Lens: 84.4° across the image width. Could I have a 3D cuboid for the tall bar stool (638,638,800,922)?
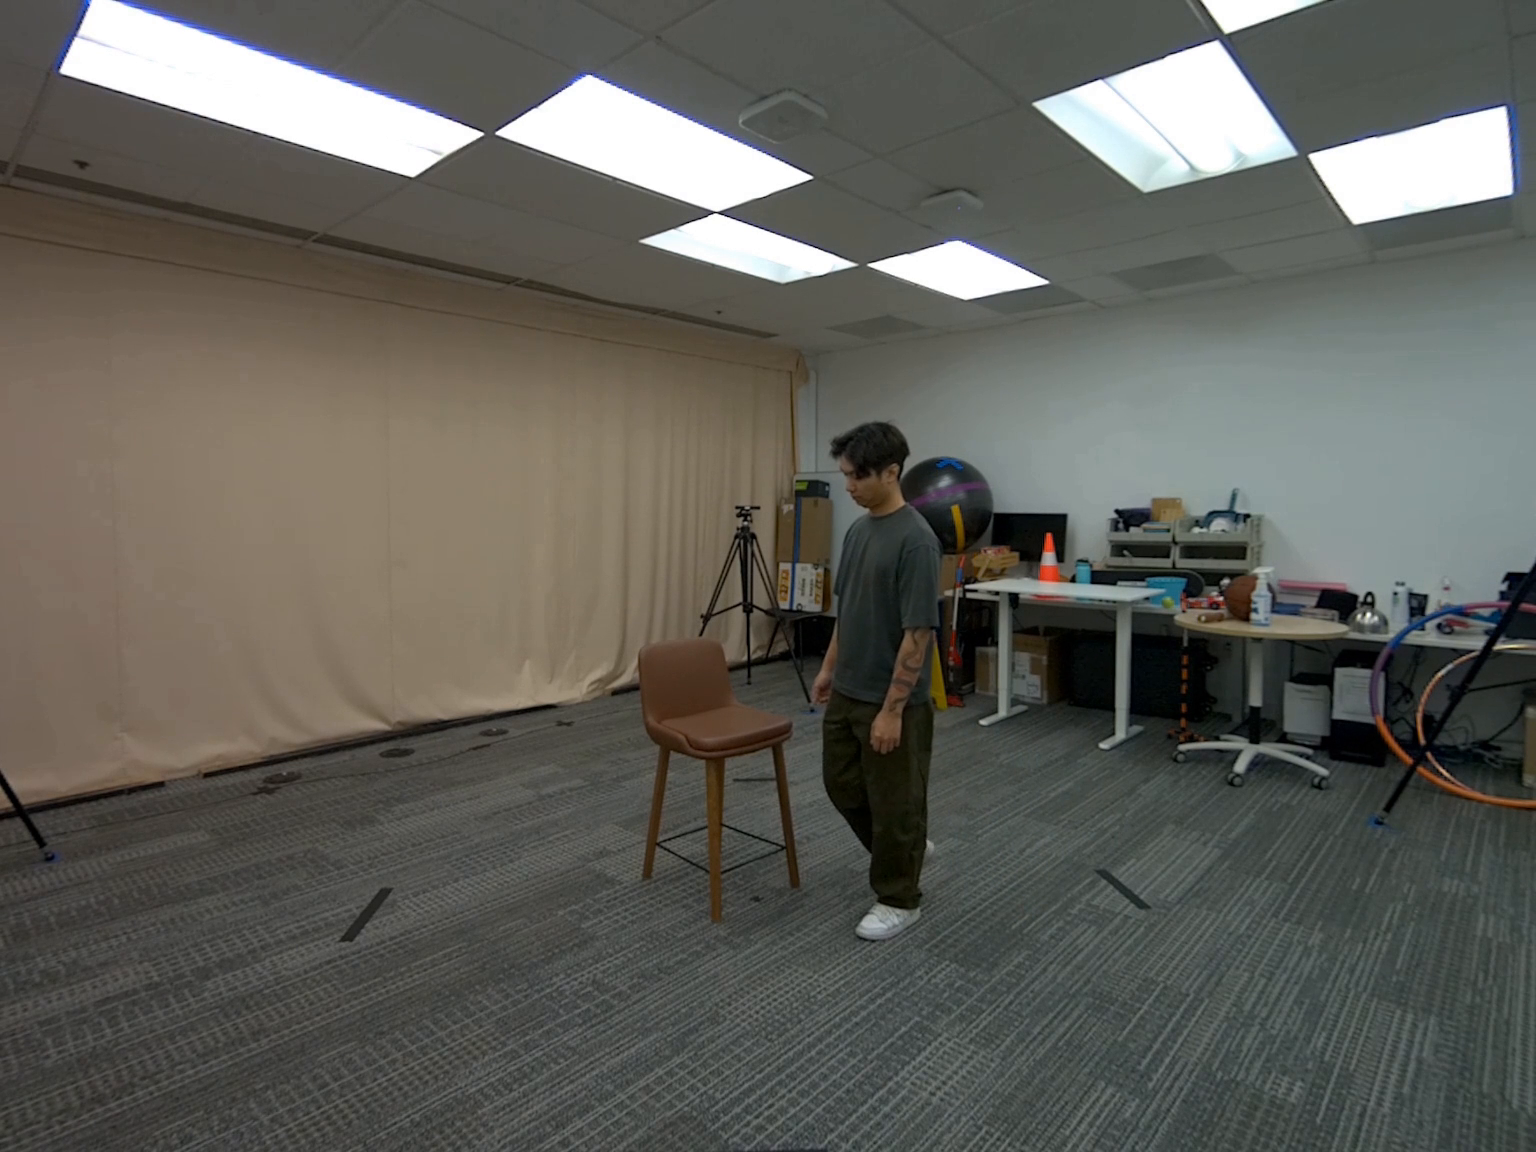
[{"bbox_3d":[-0.188,0.699,3.093,0.442,0.889,0.483,-3,2,-43],"label":"tall bar stool"}]
